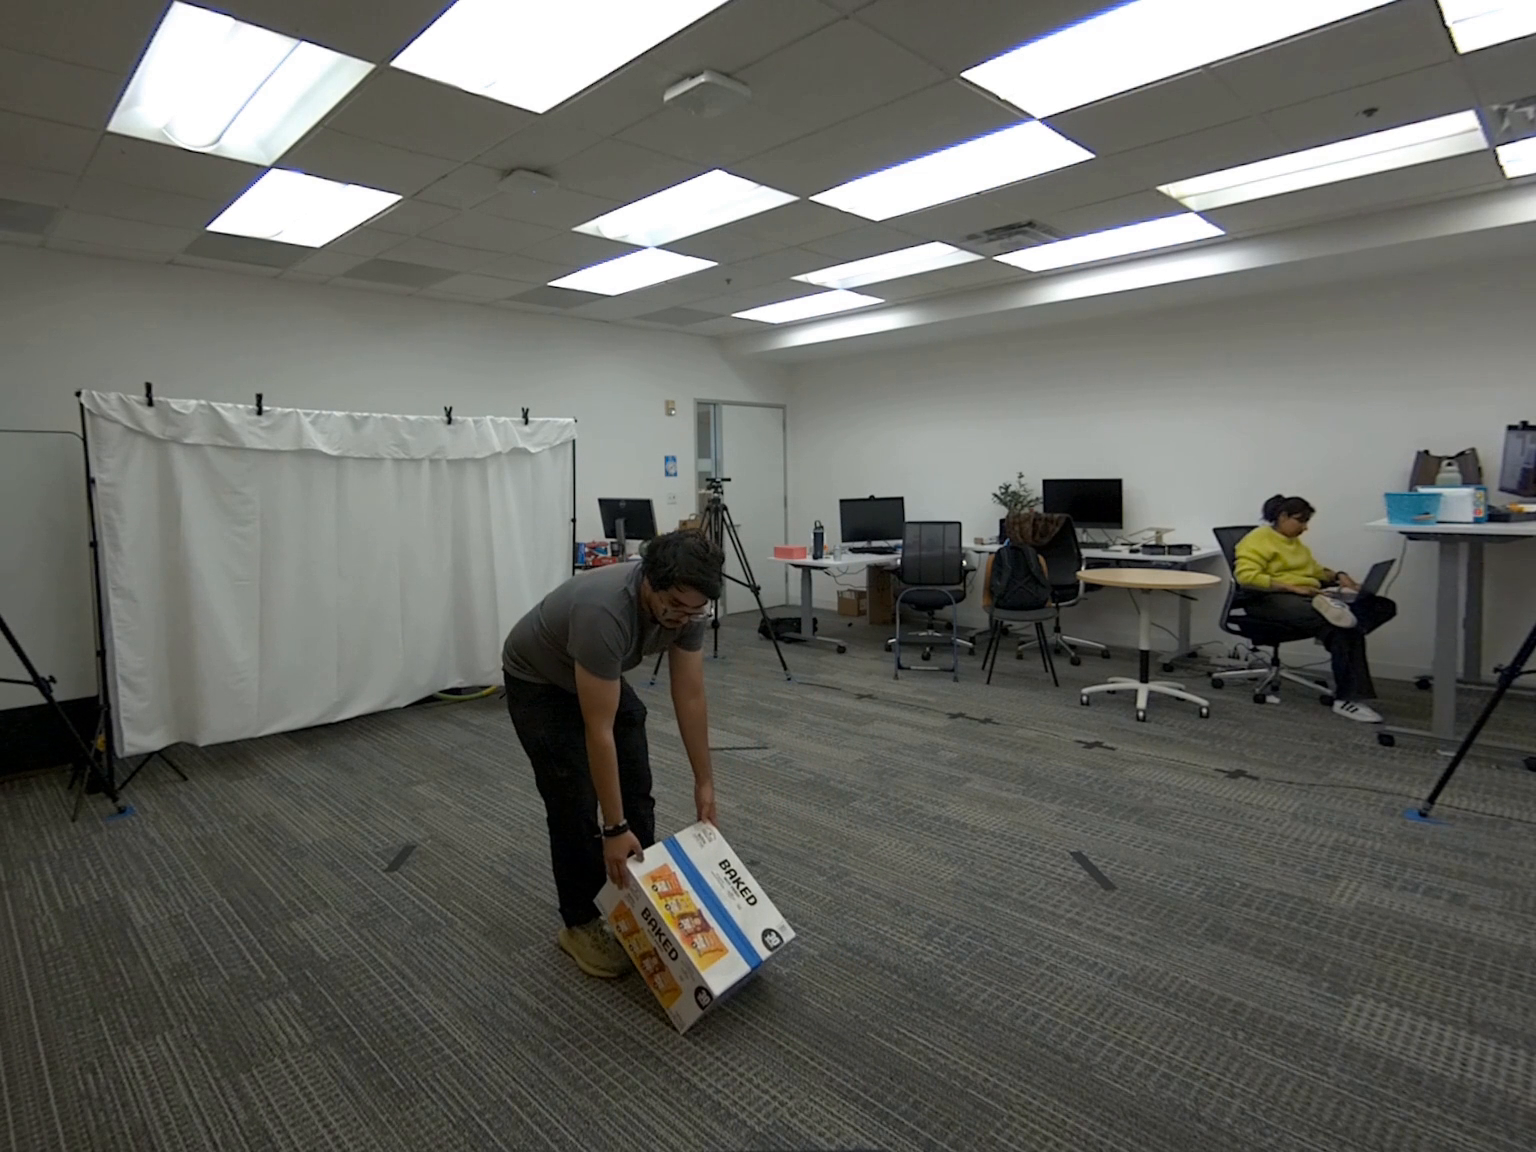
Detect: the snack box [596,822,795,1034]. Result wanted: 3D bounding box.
[{"bbox_3d":[-0.192,0.935,2.324,0.332,0.204,0.418,-9,49,-51],"label":"snack box"}]
